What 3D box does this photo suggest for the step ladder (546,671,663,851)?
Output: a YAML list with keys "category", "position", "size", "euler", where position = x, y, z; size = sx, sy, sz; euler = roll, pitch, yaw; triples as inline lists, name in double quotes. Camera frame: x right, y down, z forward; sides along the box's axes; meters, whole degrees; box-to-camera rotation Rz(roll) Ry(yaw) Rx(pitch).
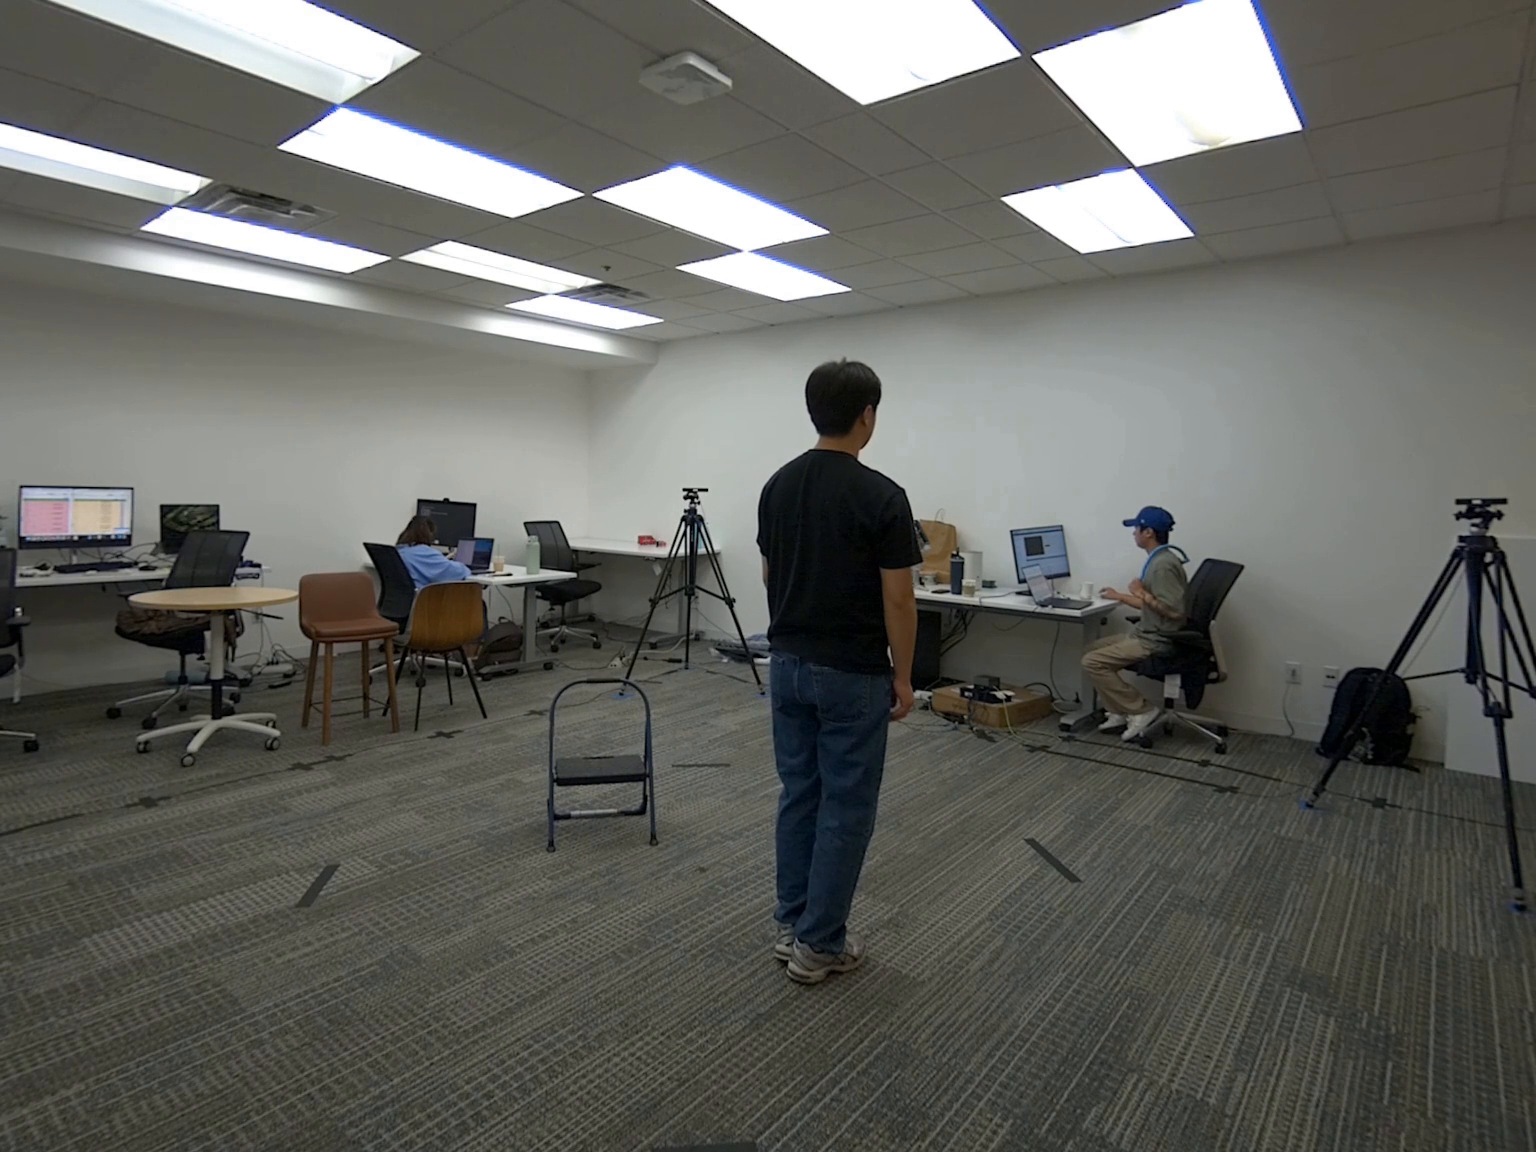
- category: "step ladder"
  position: [-0.677, 0.728, 3.419]
  size: [0.424, 0.604, 0.355]
  euler: [1, 4, -14]
